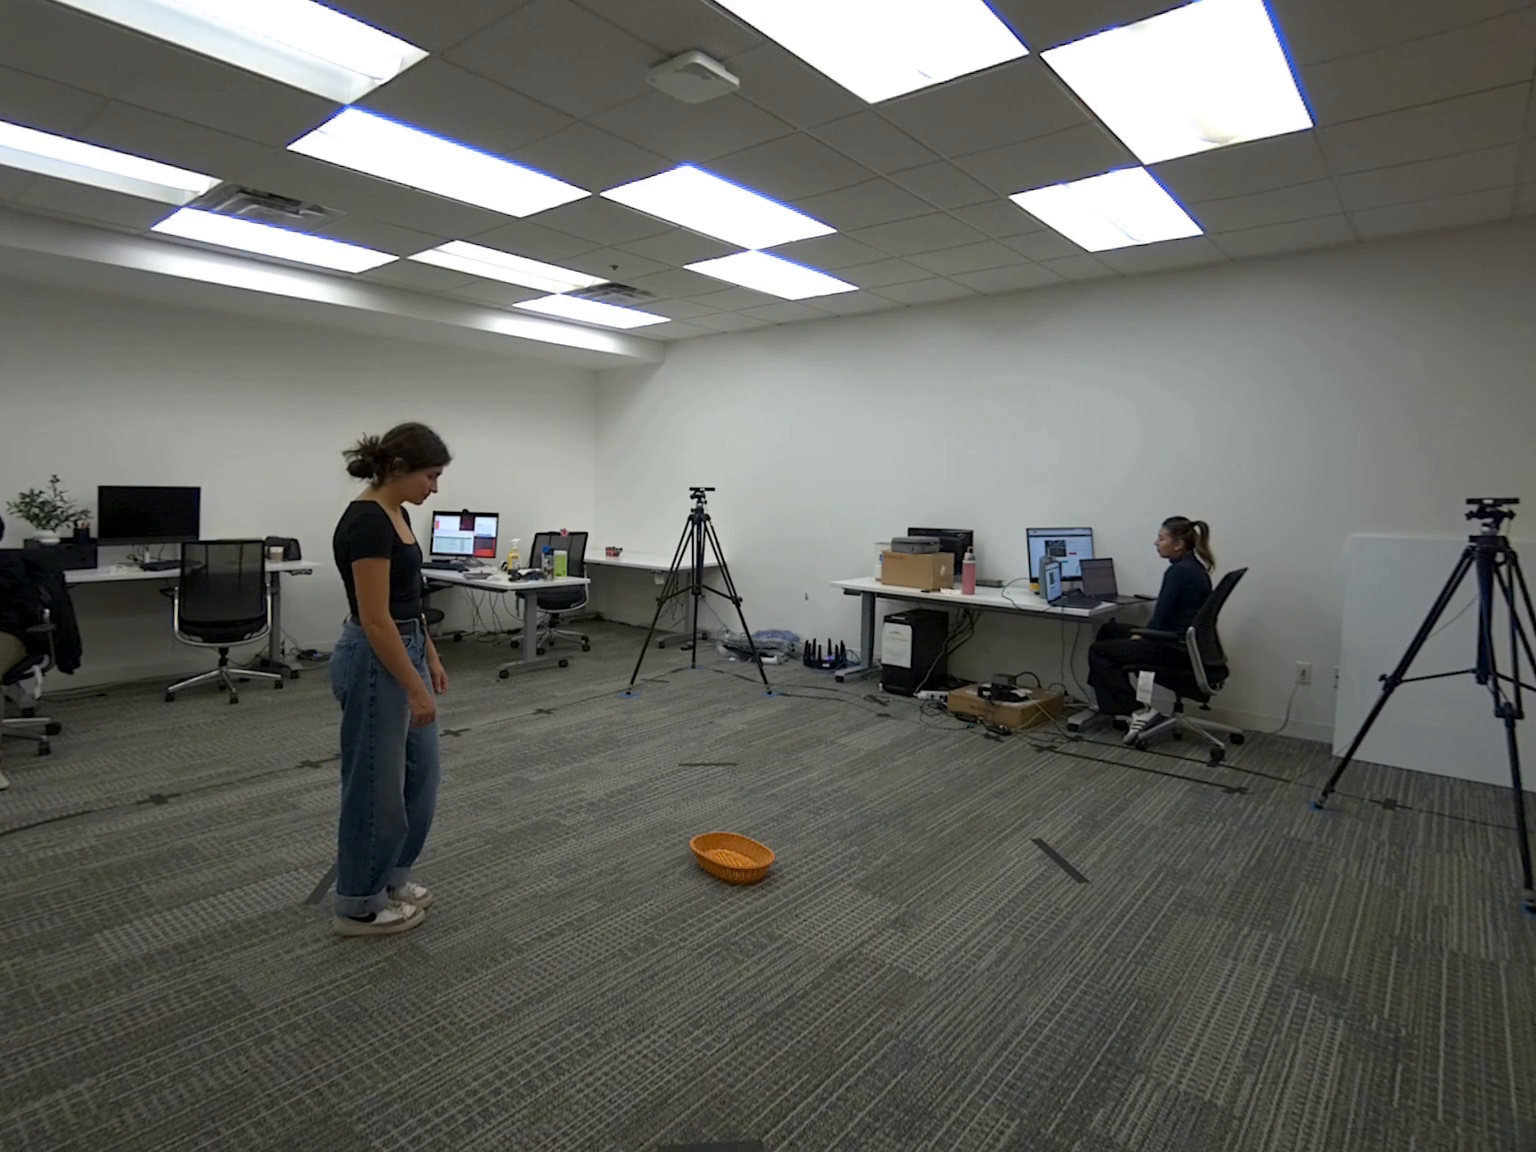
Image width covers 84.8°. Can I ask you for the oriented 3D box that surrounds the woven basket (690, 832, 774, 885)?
[{"bbox_3d":[-0.143,1.027,3.116,0.245,0.073,0.362,-1,5,-38],"label":"woven basket"}]
